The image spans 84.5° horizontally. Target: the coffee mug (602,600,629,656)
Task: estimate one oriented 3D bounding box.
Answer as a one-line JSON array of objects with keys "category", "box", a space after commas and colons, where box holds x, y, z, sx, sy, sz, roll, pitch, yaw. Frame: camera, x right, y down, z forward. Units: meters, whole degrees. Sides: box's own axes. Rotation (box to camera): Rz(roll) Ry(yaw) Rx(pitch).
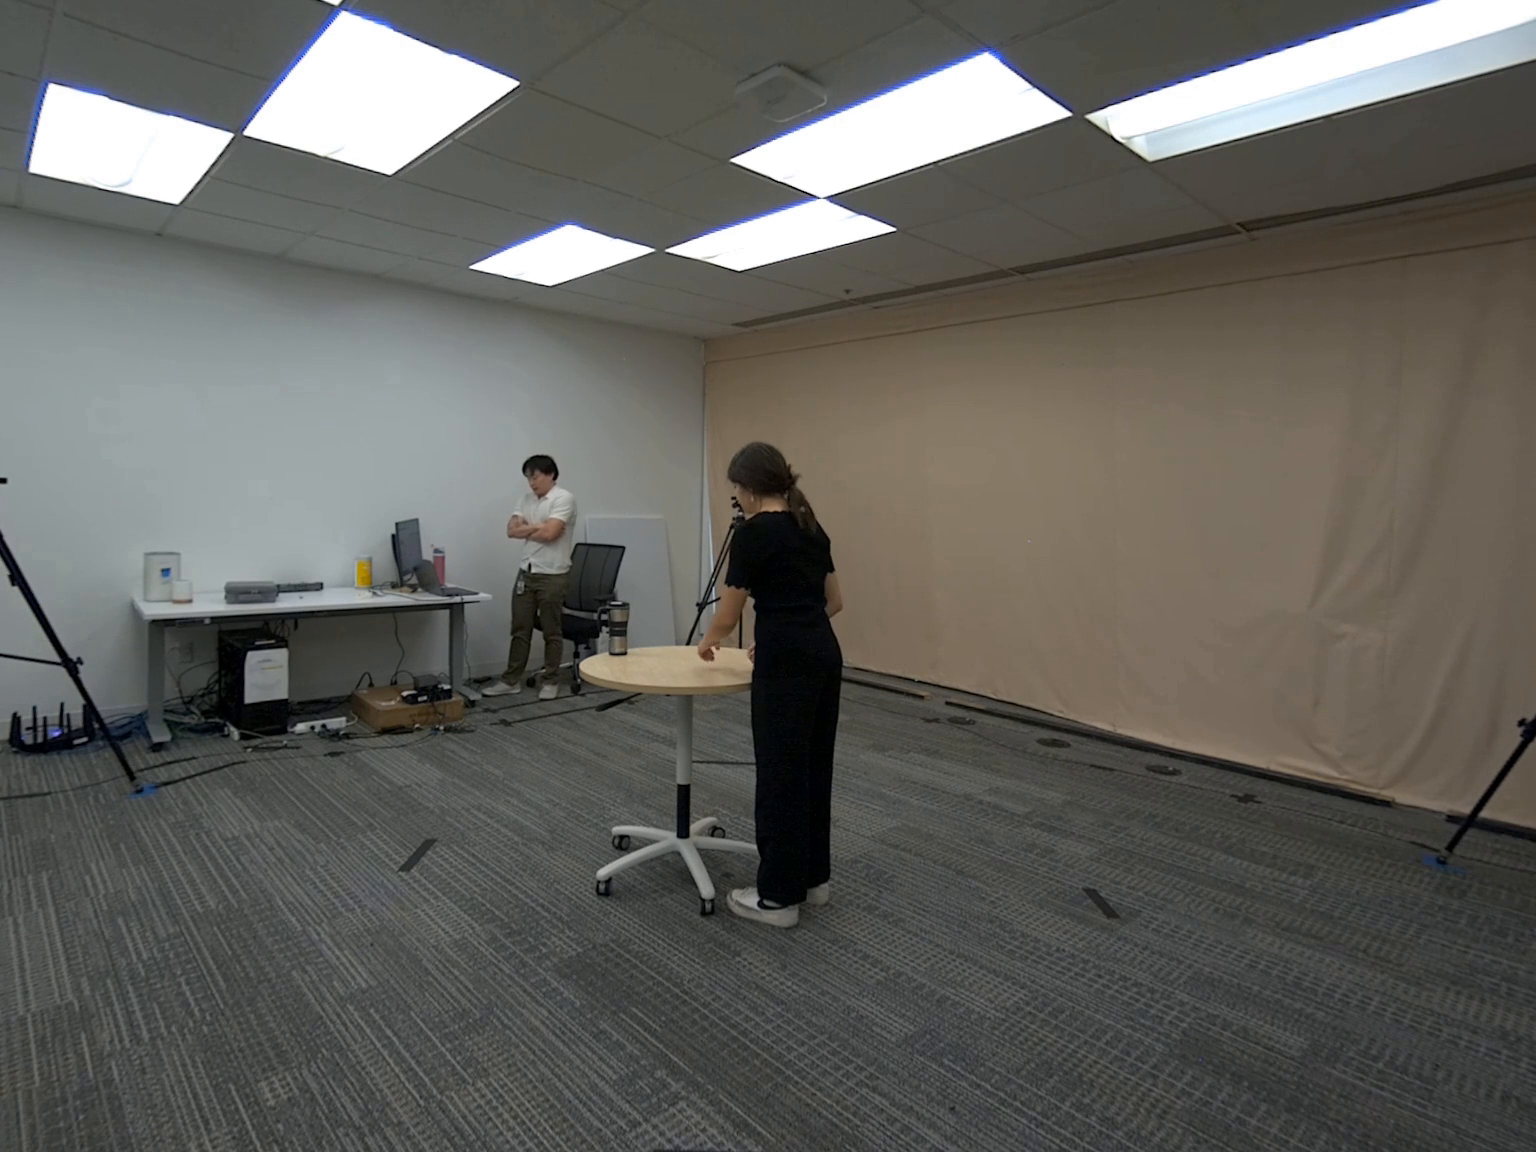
[{"category": "coffee mug", "box": [-0.607, 0.203, 3.240, 0.124, 0.202, 0.087, 6, 9, 16]}]
